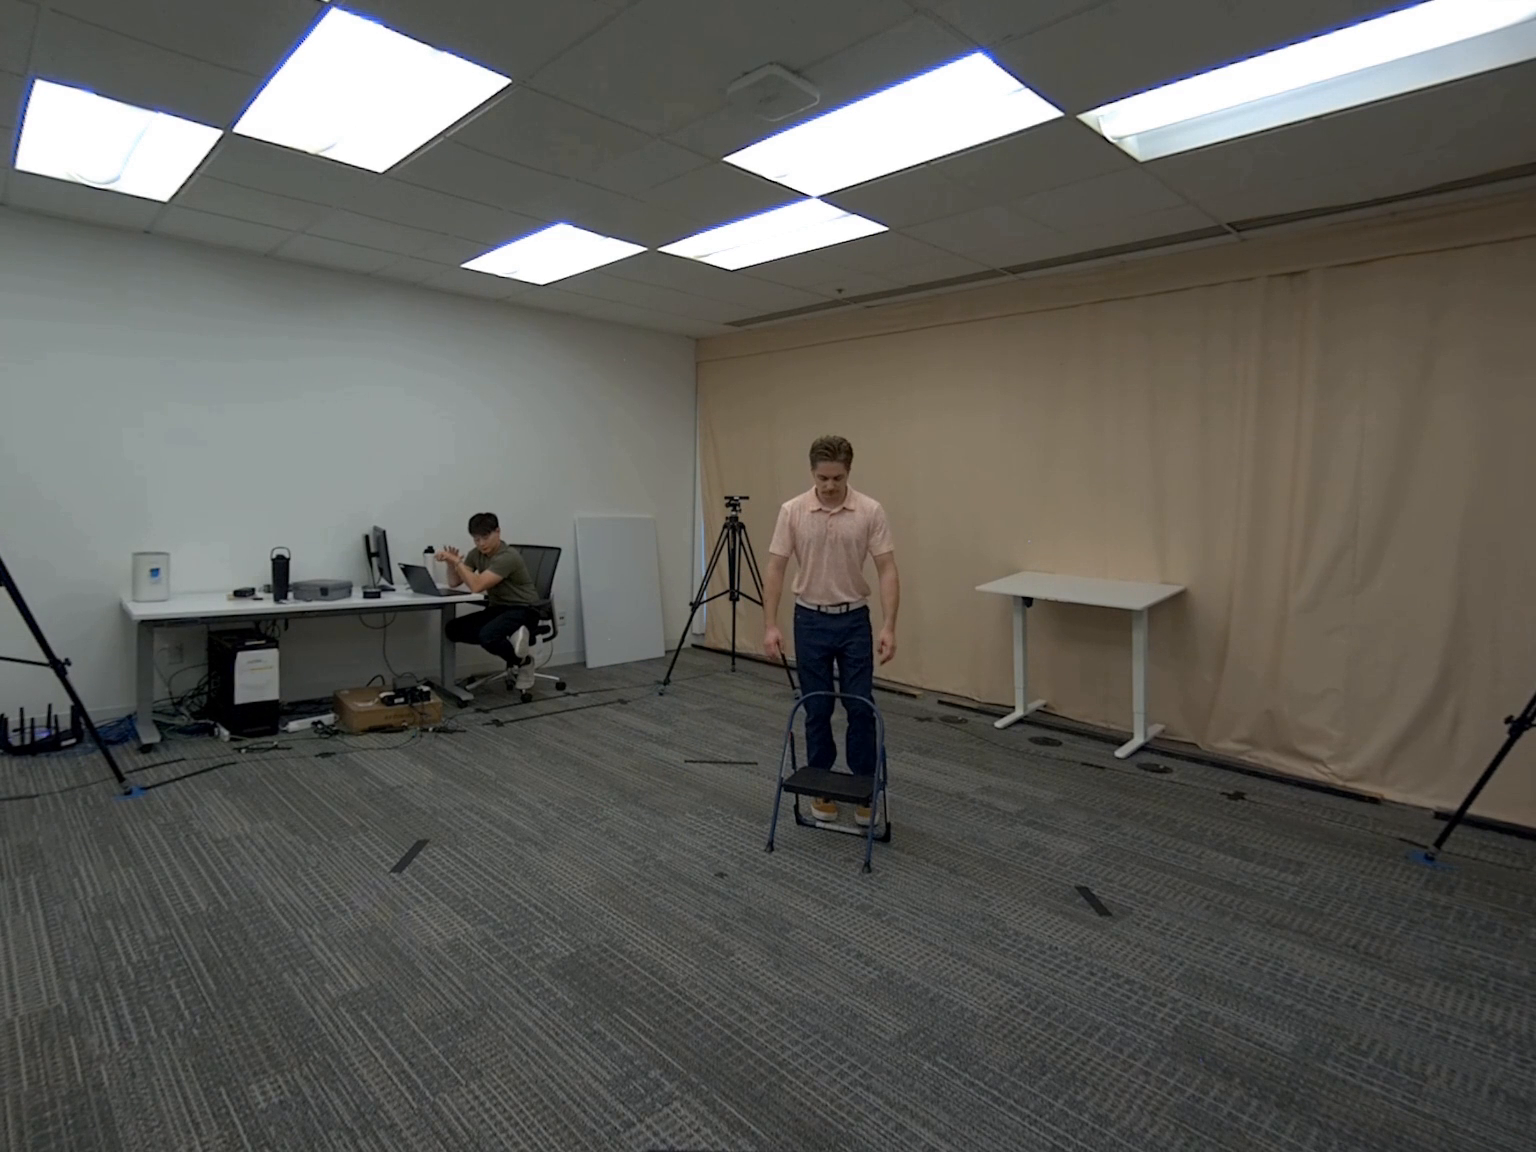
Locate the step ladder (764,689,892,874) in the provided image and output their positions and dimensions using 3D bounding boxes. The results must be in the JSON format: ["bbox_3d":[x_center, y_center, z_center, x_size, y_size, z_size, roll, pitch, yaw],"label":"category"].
[{"bbox_3d":[0.250,0.789,3.378,0.439,0.604,0.343,4,4,24],"label":"step ladder"}]
